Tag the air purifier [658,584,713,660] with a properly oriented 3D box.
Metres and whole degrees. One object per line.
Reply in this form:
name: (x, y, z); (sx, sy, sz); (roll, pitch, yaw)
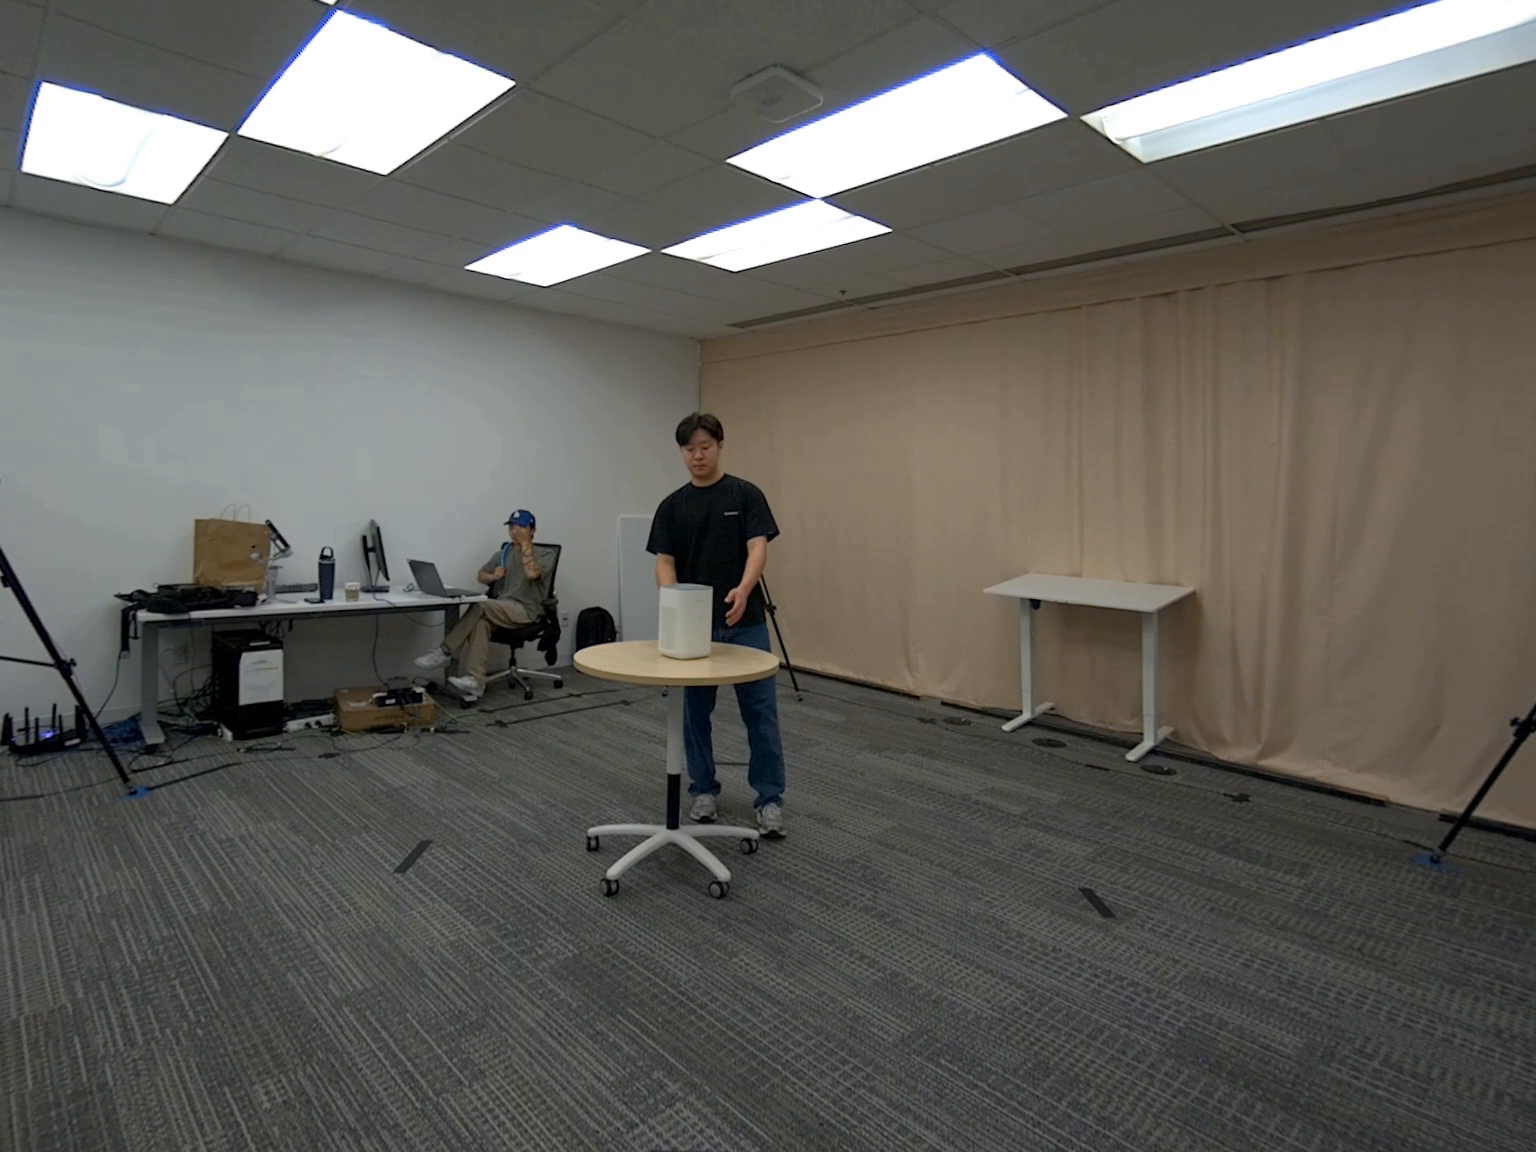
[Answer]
air purifier: (-0.326, 0.170, 3.172); (0.167, 0.265, 0.176); (-2, 4, -44)
